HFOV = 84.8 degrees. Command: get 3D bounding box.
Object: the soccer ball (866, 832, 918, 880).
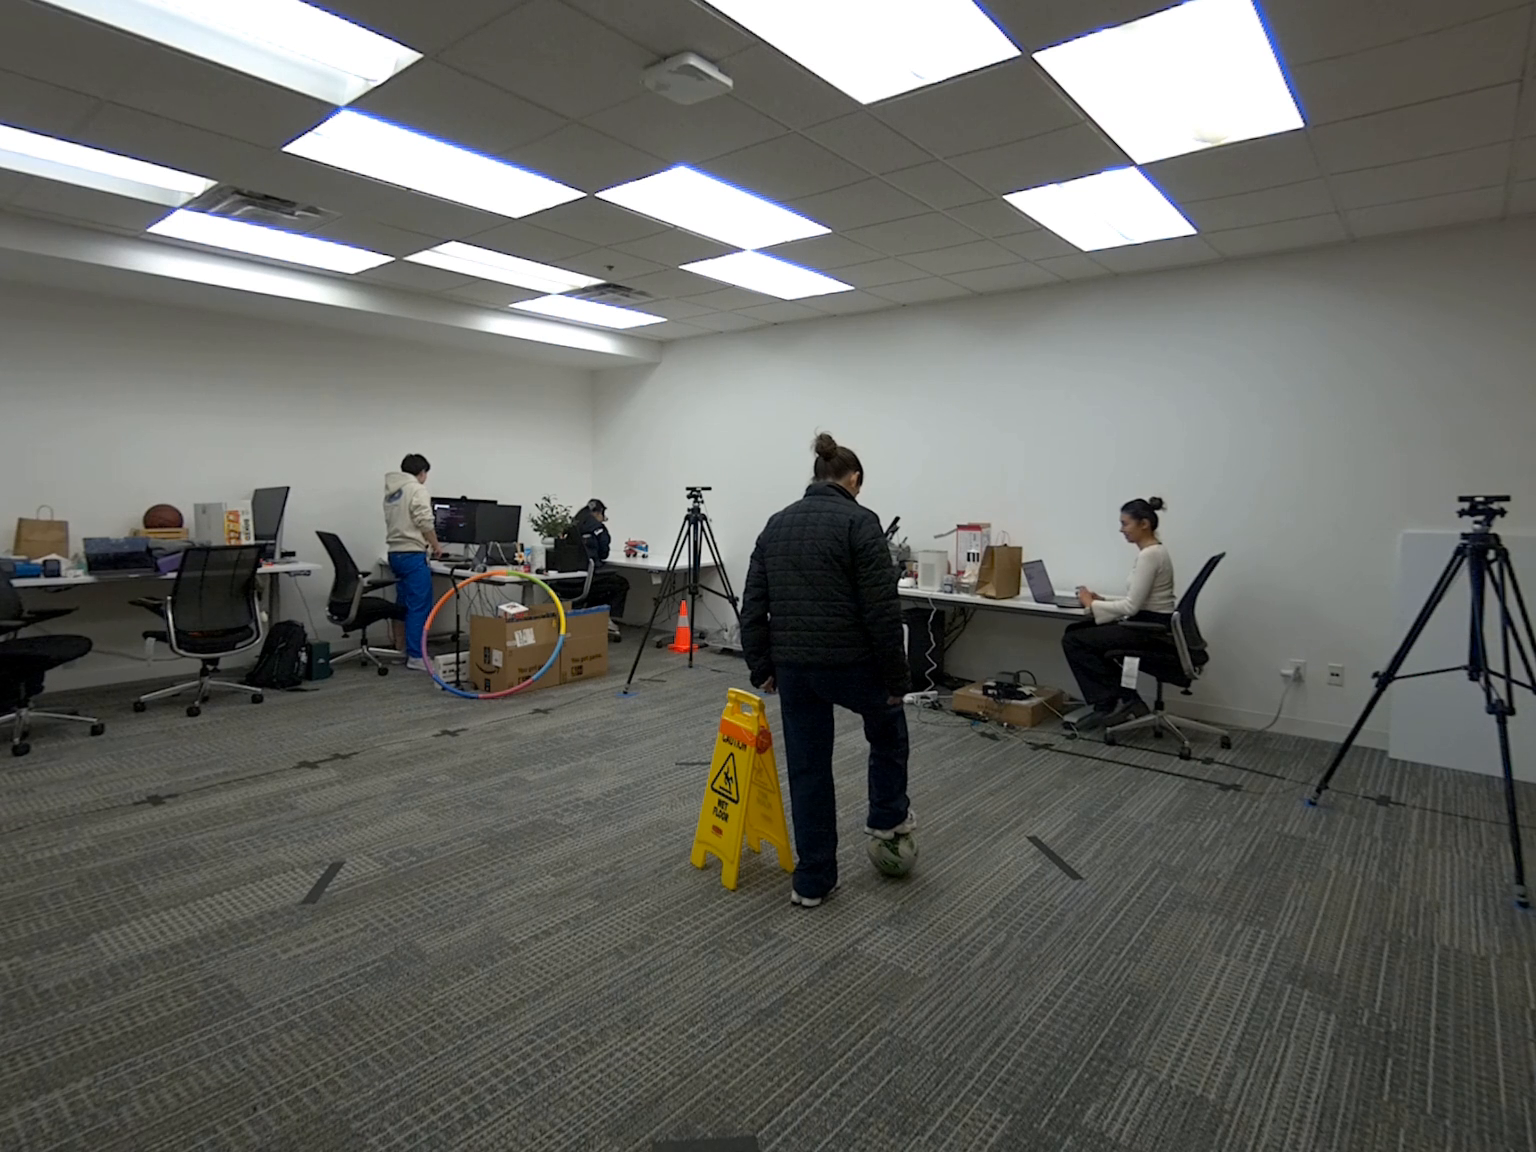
[{"bbox_3d":[0.448,0.994,3.096,0.187,0.187,0.188,1,4,-2],"label":"soccer ball"}]
